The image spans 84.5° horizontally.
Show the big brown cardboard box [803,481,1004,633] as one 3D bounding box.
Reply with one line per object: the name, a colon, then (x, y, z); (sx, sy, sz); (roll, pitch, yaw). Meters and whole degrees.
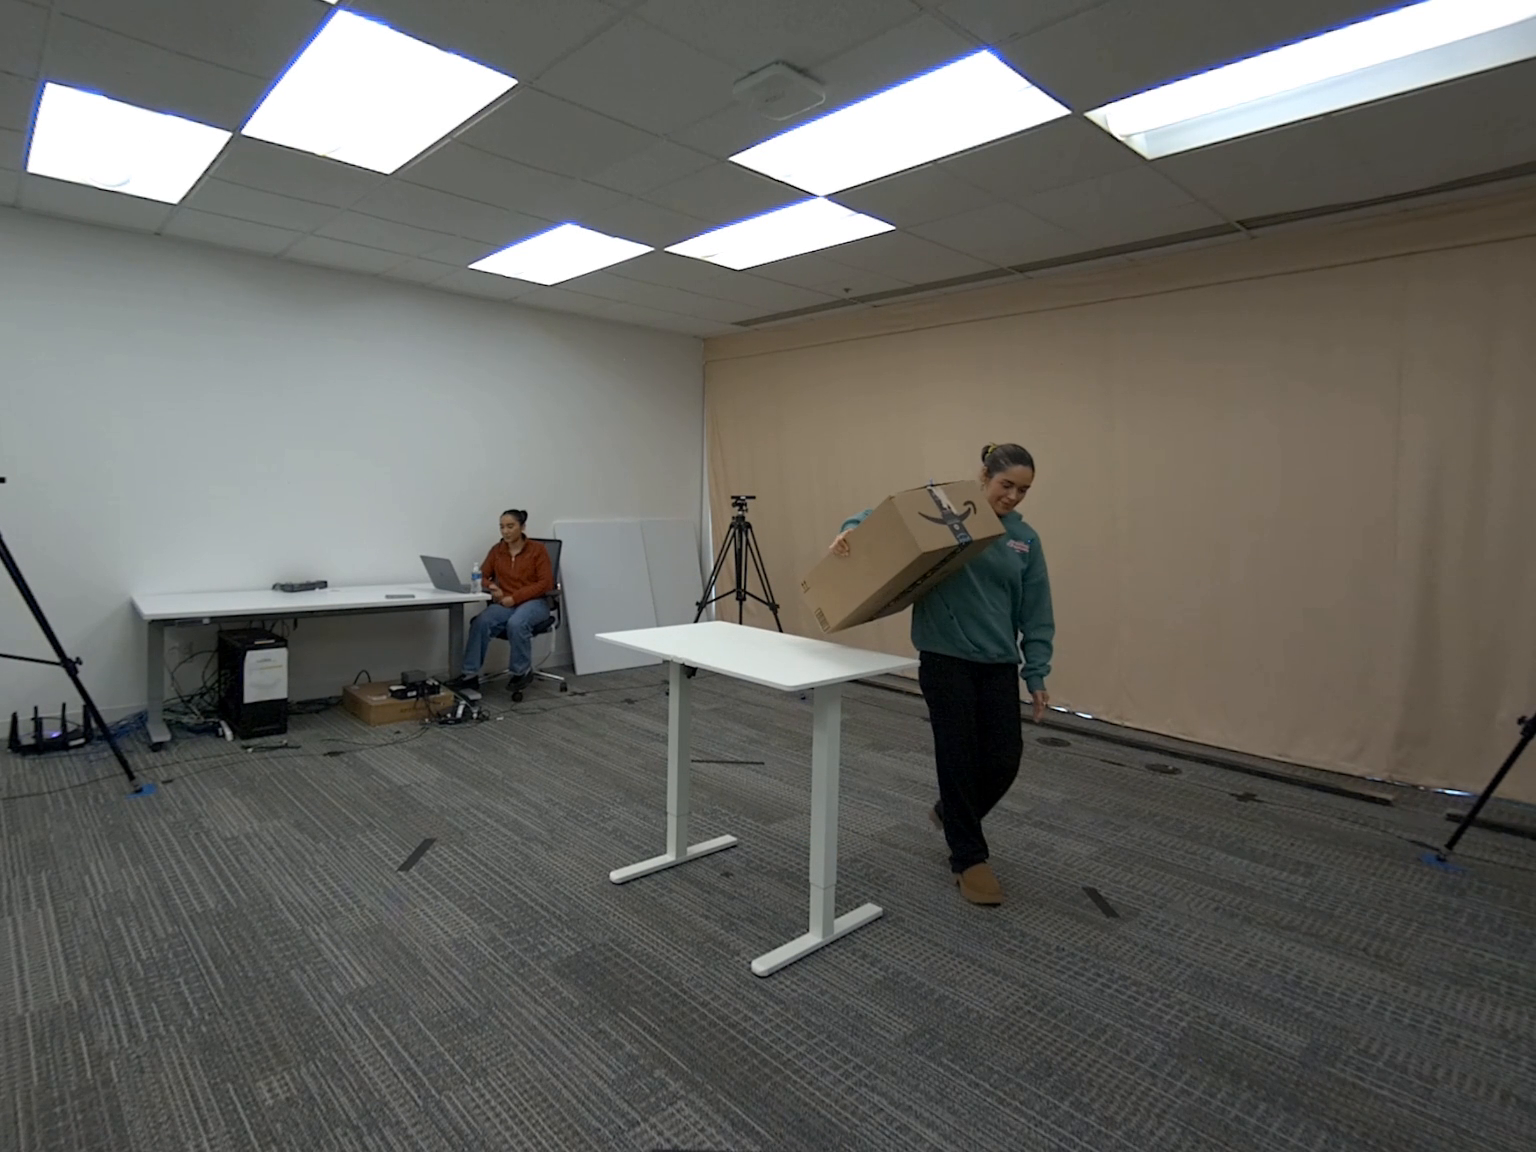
big brown cardboard box: (0.433, -0.056, 2.870); (0.410, 0.237, 0.589); (-12, -21, -38)
